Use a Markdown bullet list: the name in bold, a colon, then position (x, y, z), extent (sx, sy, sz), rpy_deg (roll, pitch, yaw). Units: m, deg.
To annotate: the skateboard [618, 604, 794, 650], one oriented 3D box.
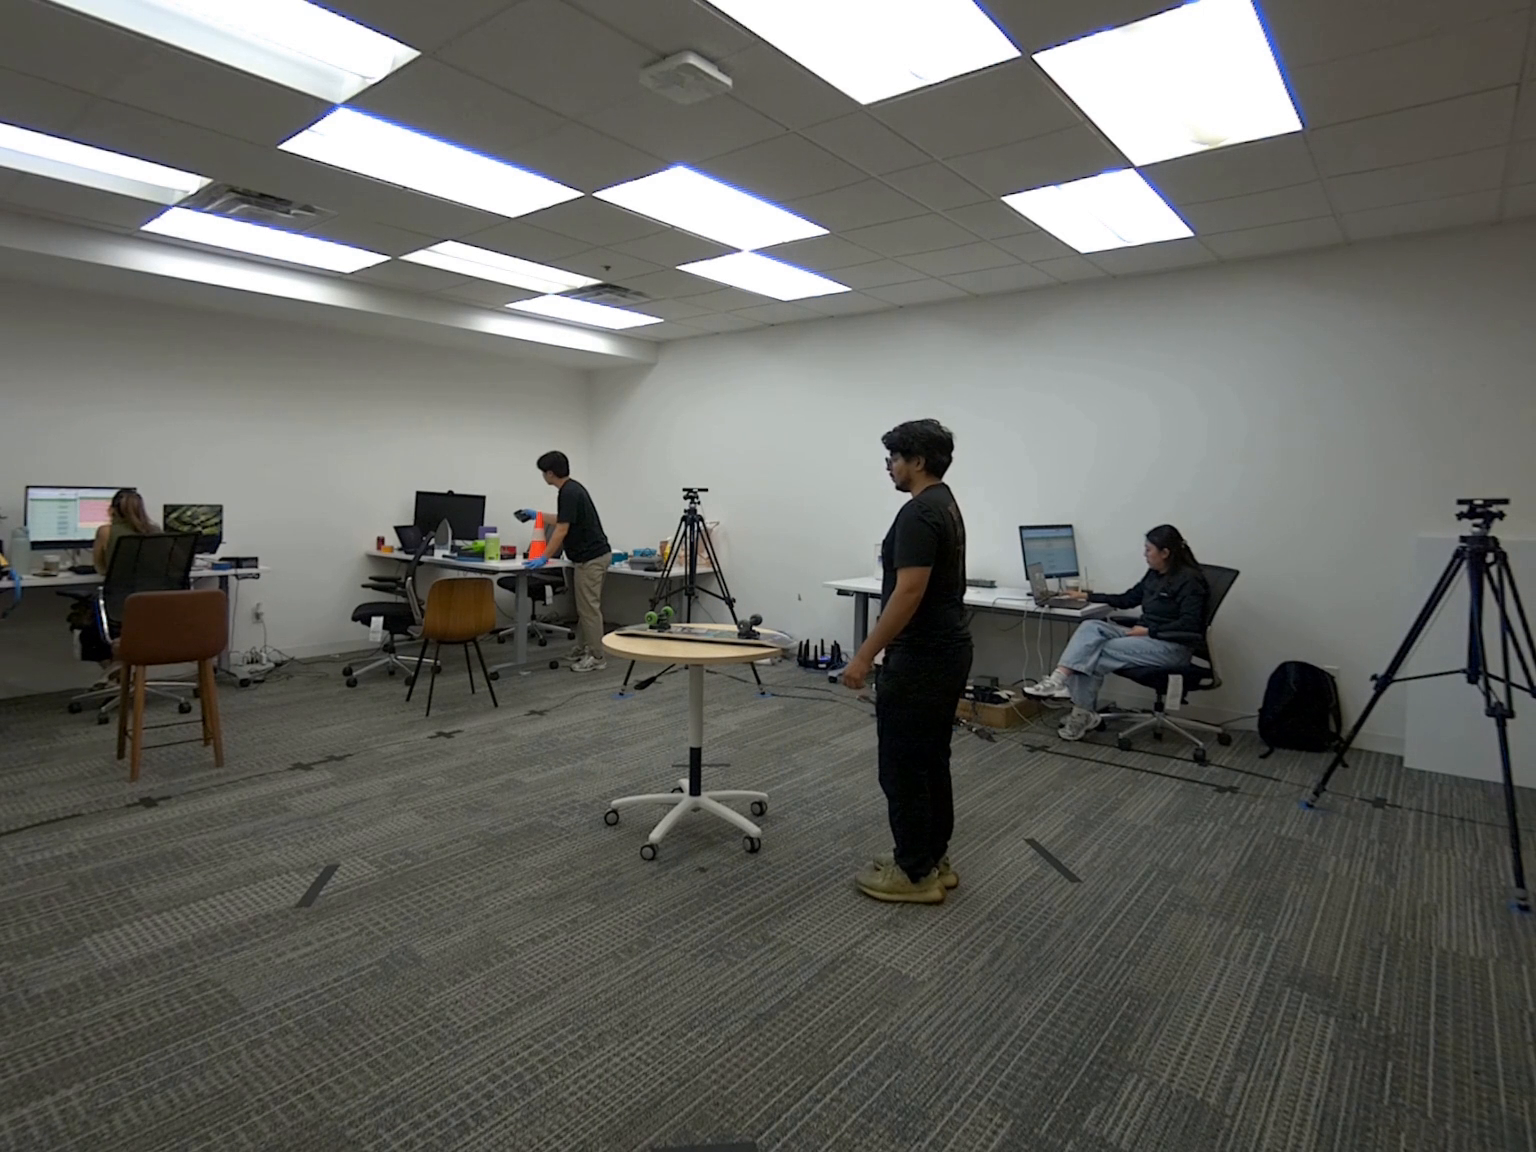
- **skateboard**: position (-0.269, 0.206, 3.462), extent (0.804, 0.110, 0.190), rpy_deg (4, 6, 22)
